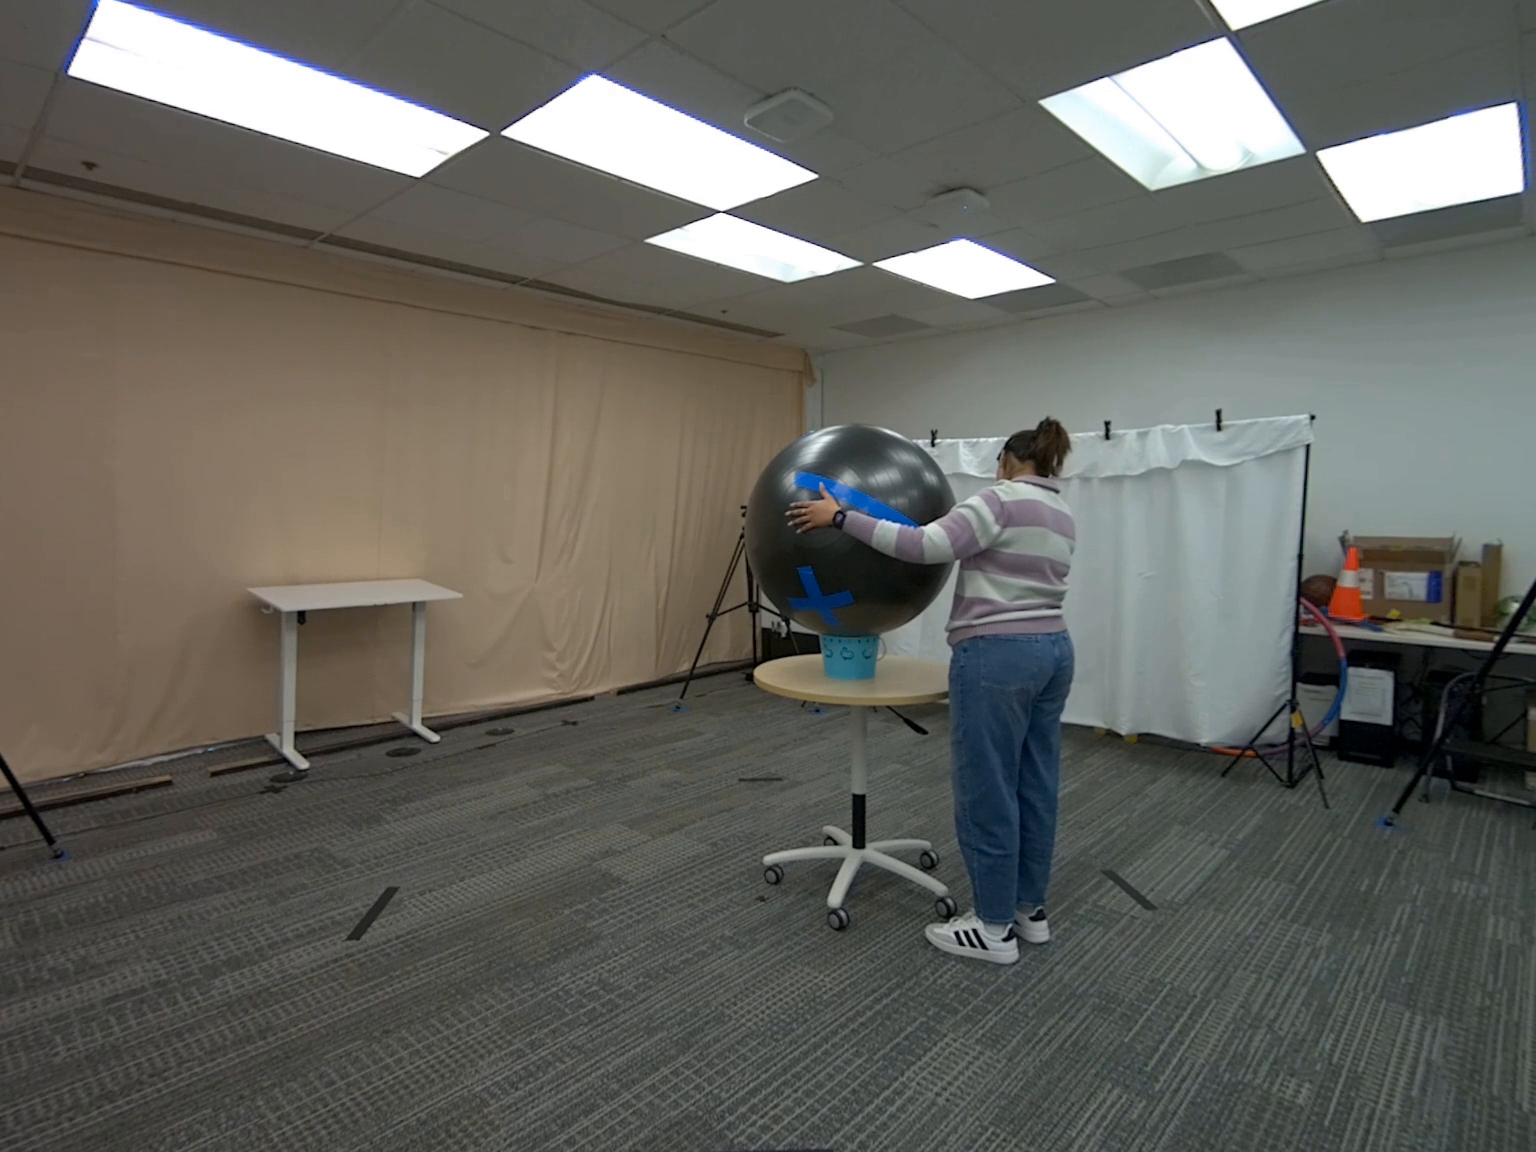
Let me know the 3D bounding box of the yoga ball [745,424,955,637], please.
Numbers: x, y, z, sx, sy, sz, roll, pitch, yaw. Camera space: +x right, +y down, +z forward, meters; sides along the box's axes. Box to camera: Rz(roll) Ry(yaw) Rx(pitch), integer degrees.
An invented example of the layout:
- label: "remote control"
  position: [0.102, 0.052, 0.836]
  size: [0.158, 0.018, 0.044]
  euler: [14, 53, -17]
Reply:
- label: "yoga ball"
  position: [0.296, -0.157, 3.013]
  size: [0.757, 0.756, 0.760]
  euler: [0, 4, -2]
